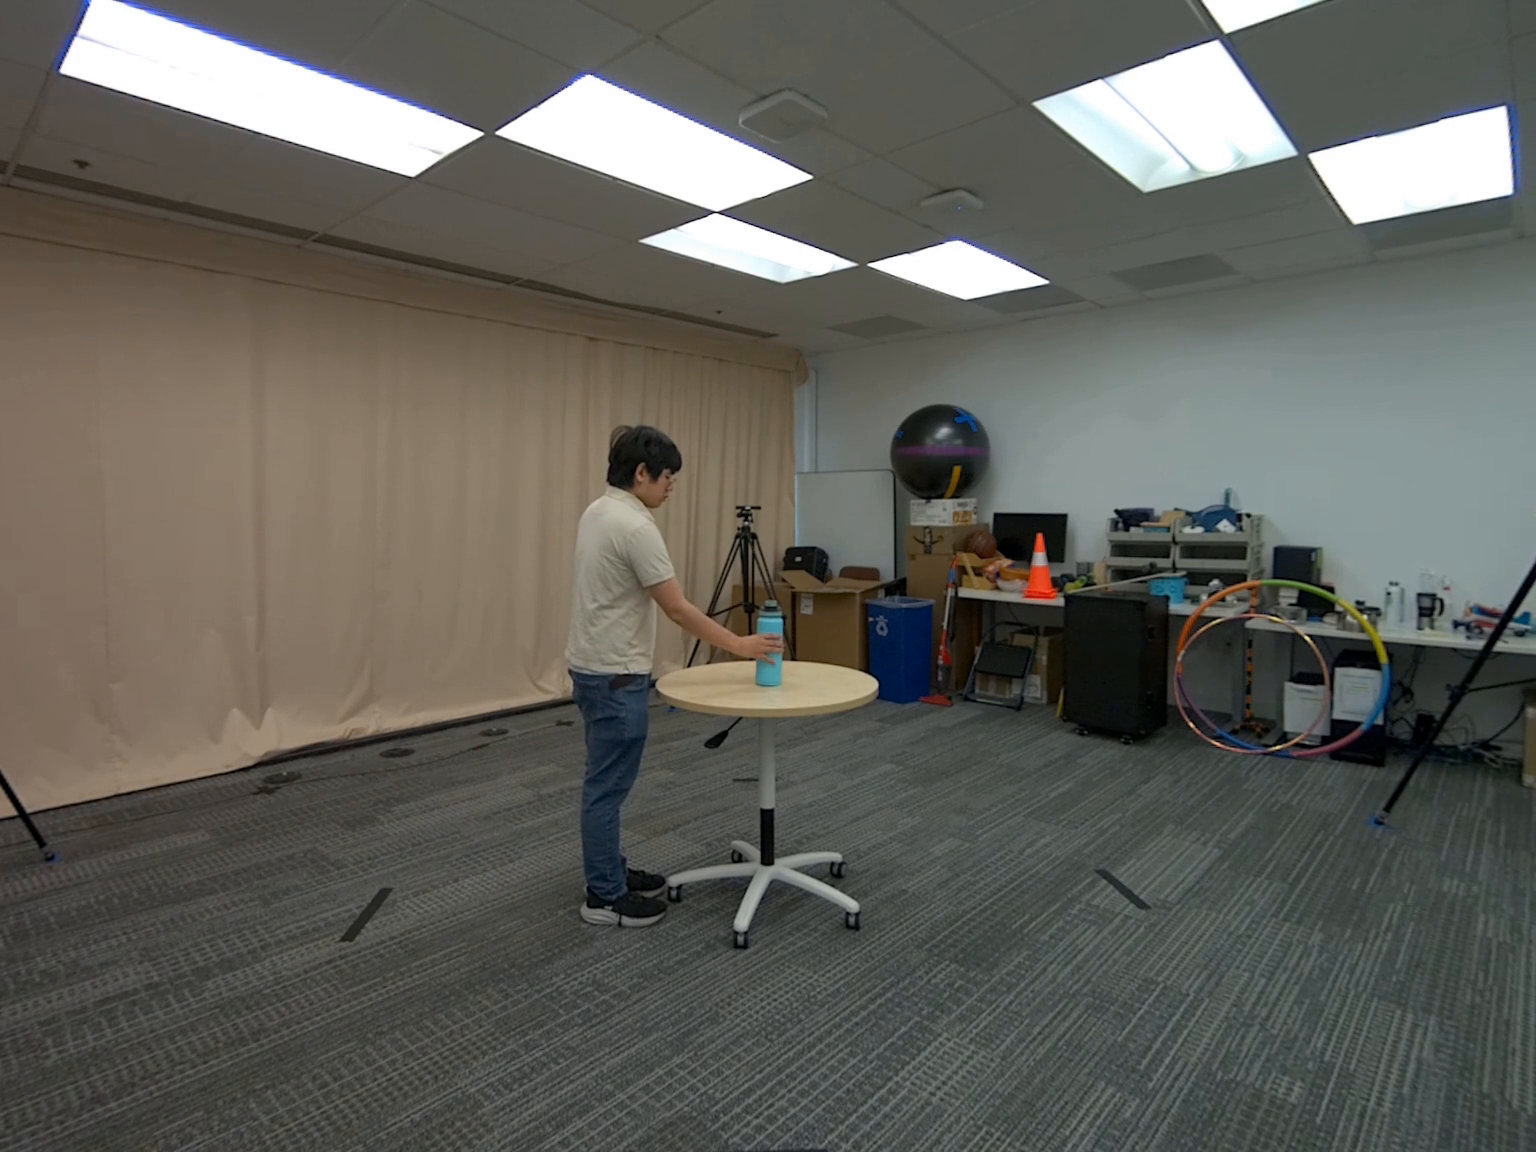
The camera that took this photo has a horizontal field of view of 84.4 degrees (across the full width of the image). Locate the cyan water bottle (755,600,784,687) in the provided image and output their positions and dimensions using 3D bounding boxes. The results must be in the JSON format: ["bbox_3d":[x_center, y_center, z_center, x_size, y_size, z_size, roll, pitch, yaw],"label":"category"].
[{"bbox_3d":[0.007,0.227,2.873,0.092,0.283,0.092,0,1,-2],"label":"cyan water bottle"}]
